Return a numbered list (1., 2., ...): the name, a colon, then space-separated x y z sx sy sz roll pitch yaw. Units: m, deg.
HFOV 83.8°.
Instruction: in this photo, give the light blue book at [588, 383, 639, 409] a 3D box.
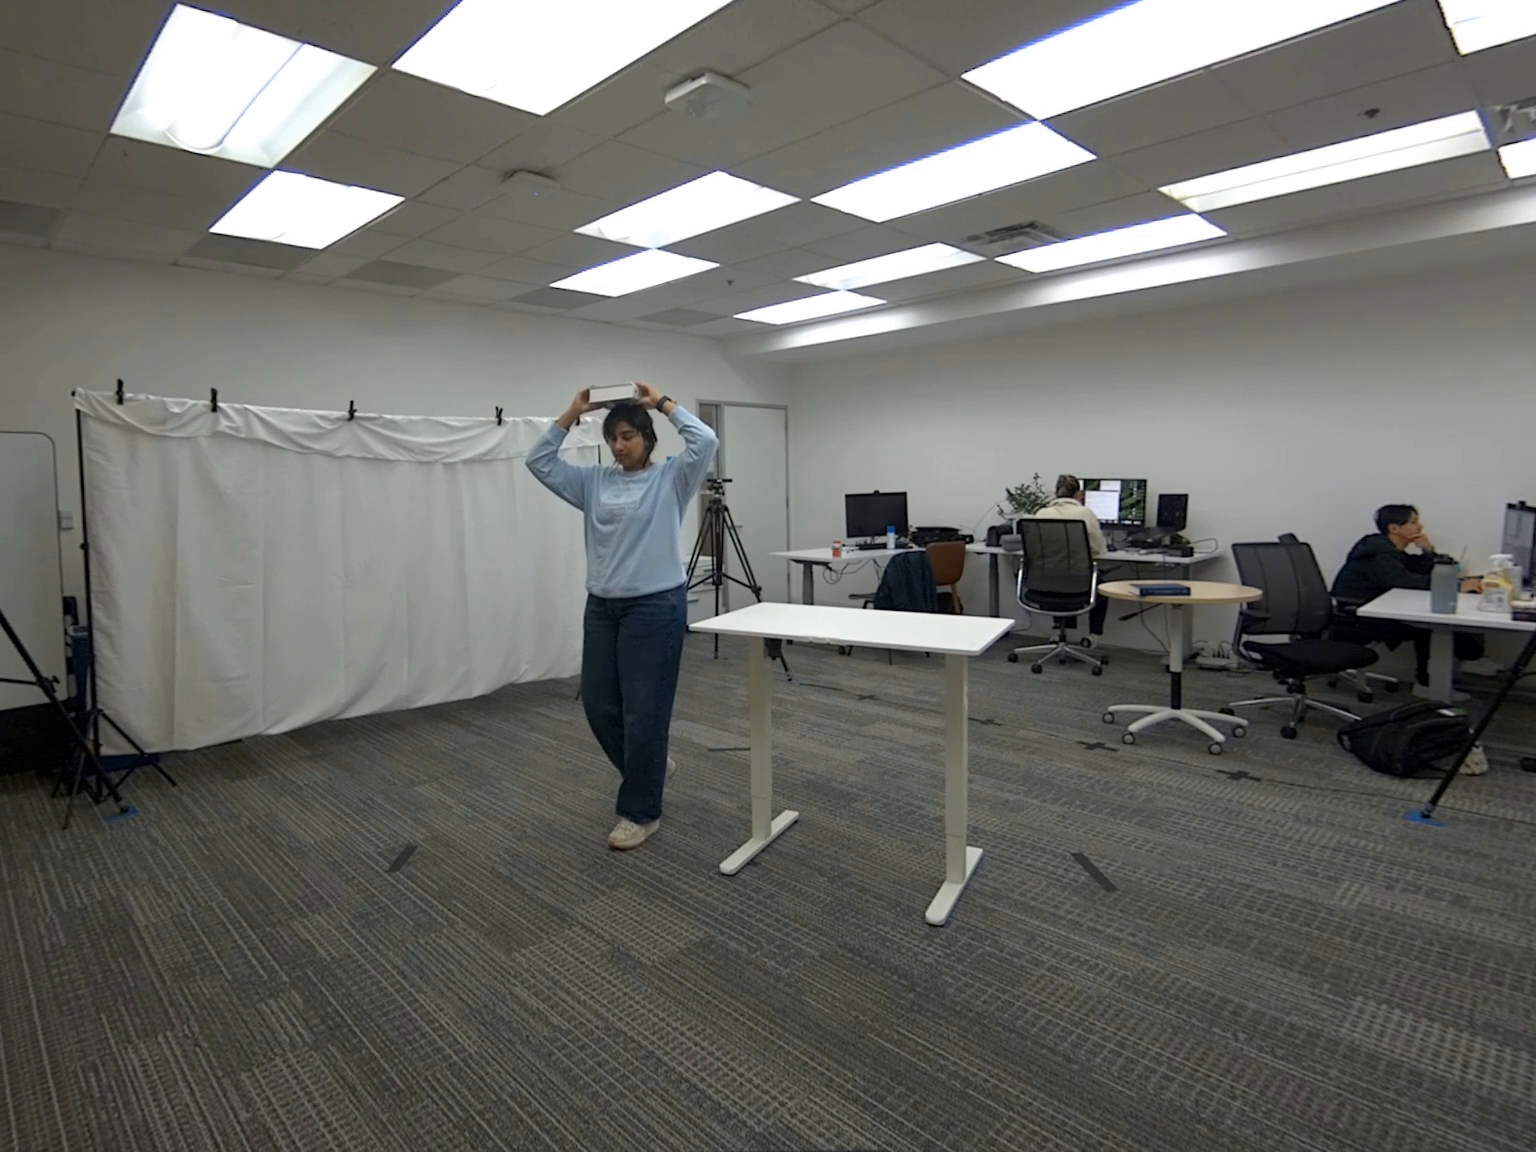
1. light blue book: -0.551 -0.690 3.323 0.193 0.059 0.259 -3 3 10
